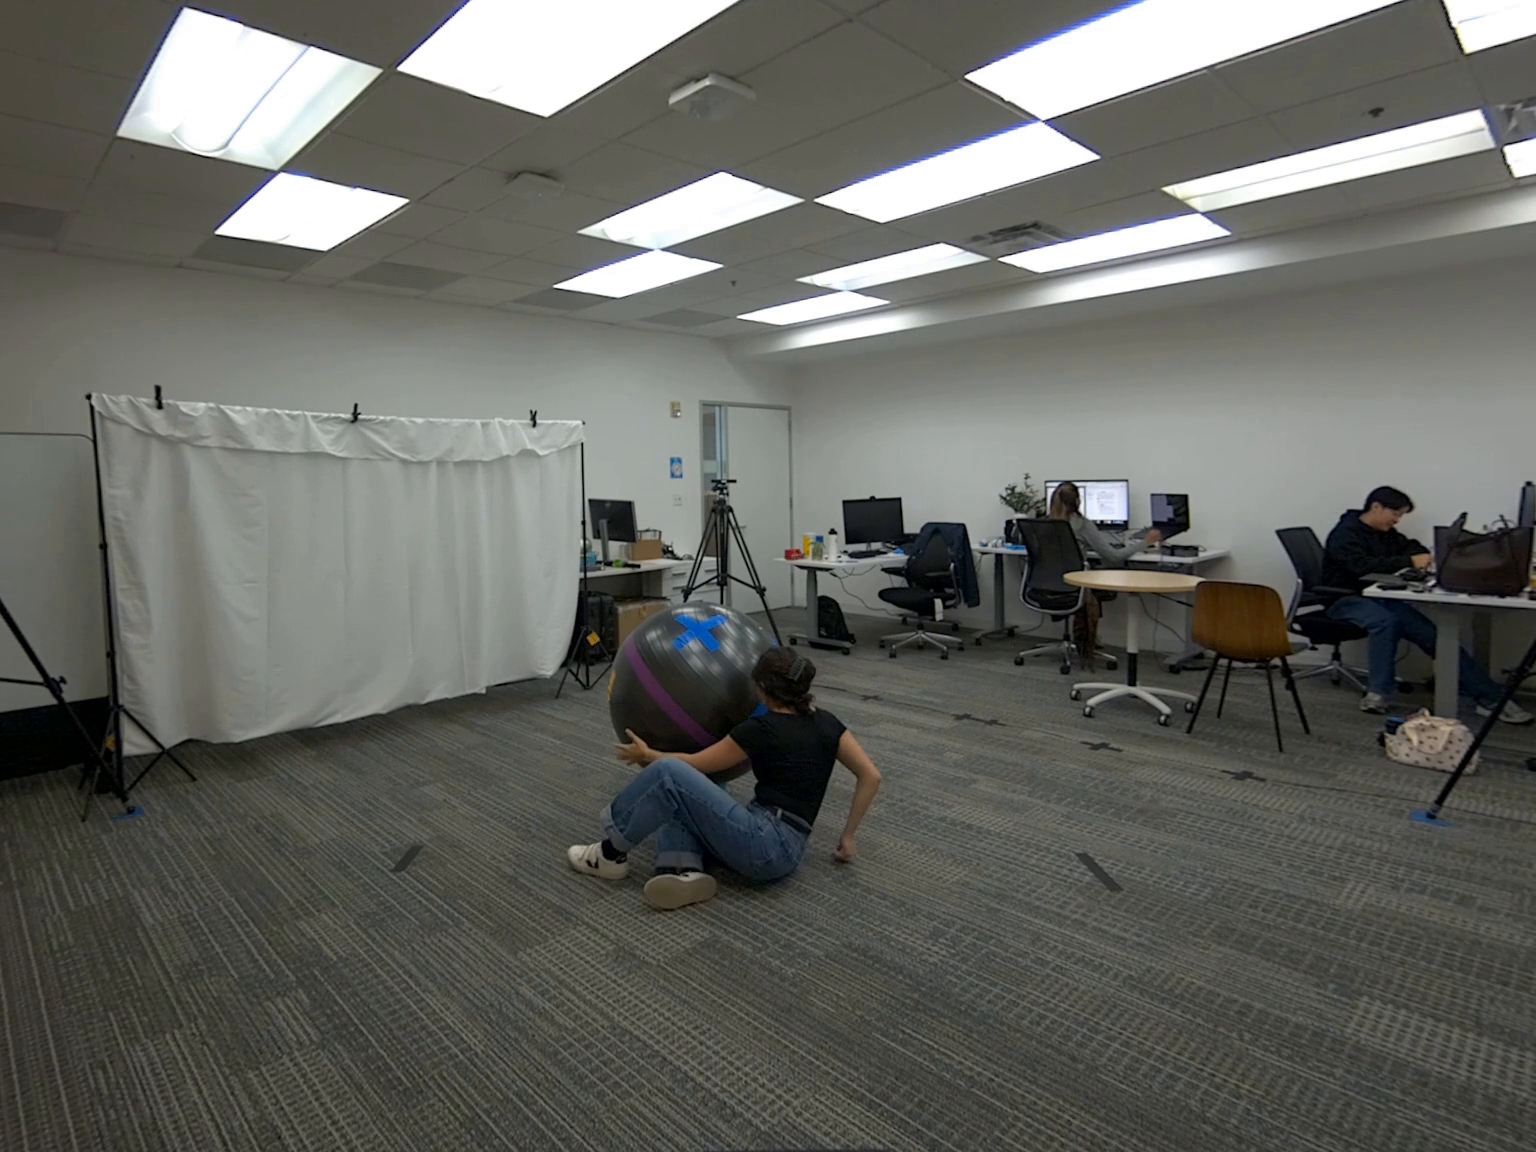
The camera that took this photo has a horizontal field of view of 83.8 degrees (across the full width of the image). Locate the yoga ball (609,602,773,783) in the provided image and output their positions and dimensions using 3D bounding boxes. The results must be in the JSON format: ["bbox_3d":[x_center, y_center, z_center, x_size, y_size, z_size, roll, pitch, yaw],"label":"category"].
[{"bbox_3d":[-0.297,0.487,3.581,0.757,0.755,0.762,-1,5,-2],"label":"yoga ball"}]
